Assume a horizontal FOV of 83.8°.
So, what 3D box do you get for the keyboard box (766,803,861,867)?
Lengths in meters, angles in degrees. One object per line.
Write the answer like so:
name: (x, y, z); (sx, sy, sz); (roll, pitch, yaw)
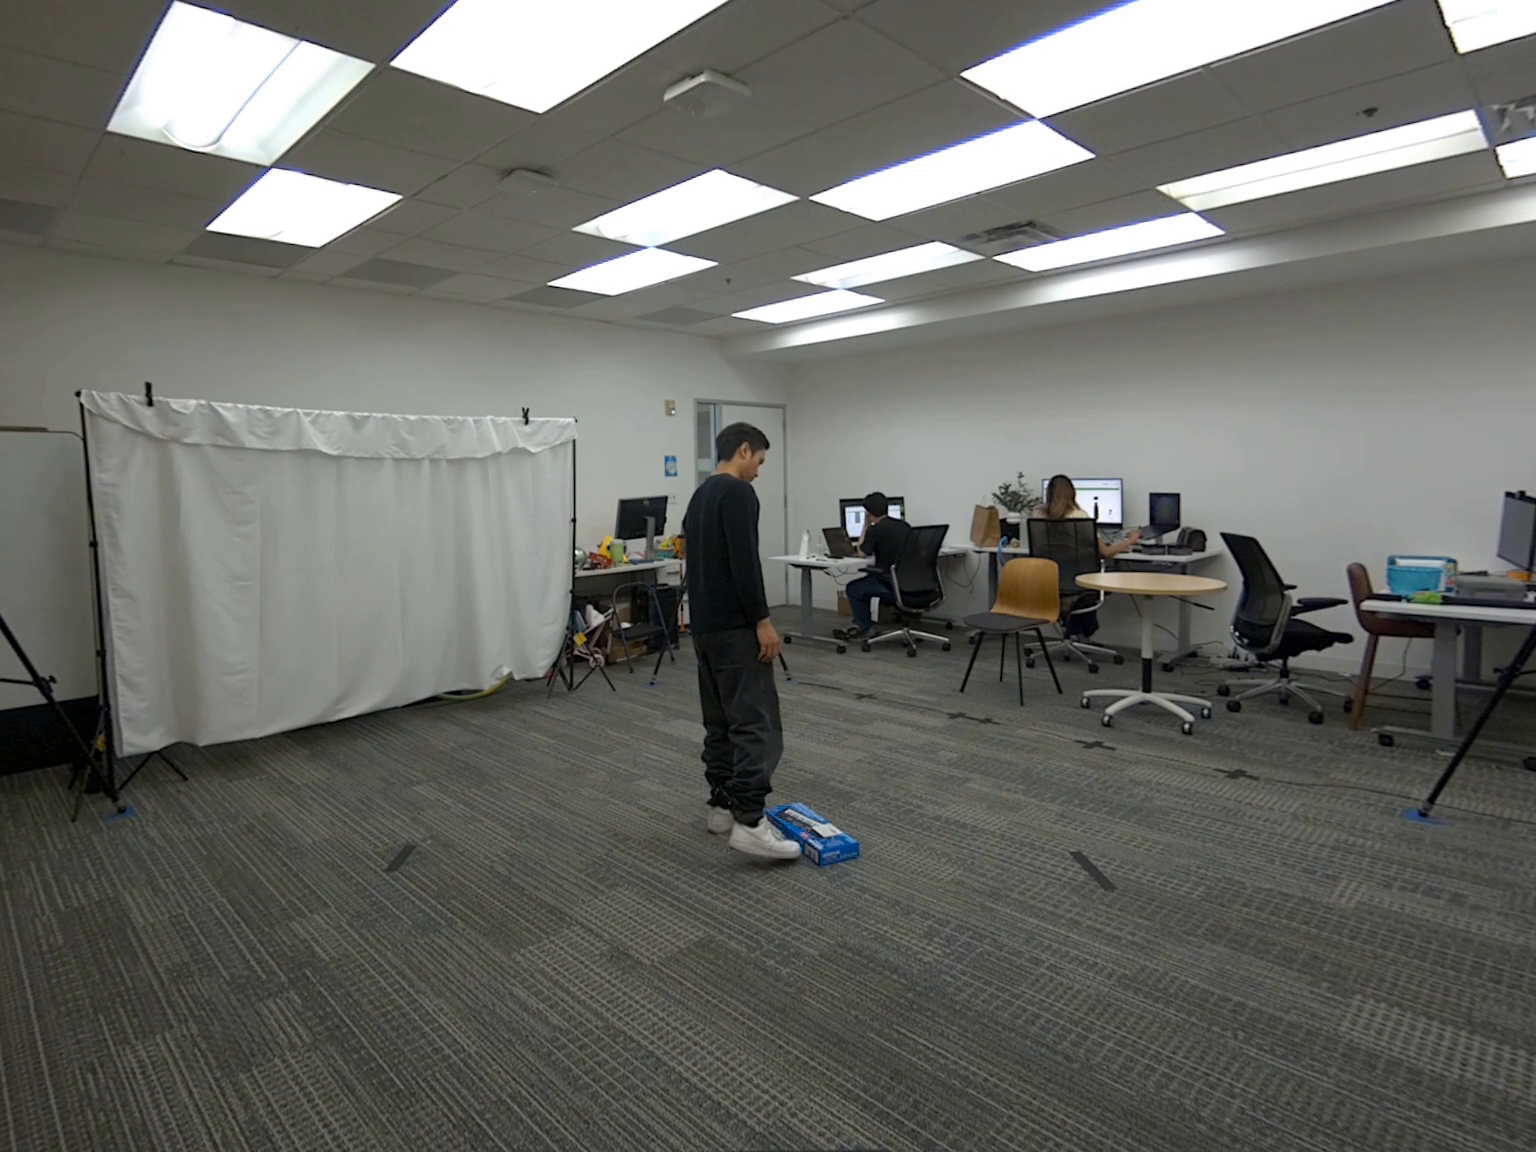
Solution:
keyboard box: (0.162, 0.988, 3.293); (0.172, 0.059, 0.448); (-4, 7, -27)
